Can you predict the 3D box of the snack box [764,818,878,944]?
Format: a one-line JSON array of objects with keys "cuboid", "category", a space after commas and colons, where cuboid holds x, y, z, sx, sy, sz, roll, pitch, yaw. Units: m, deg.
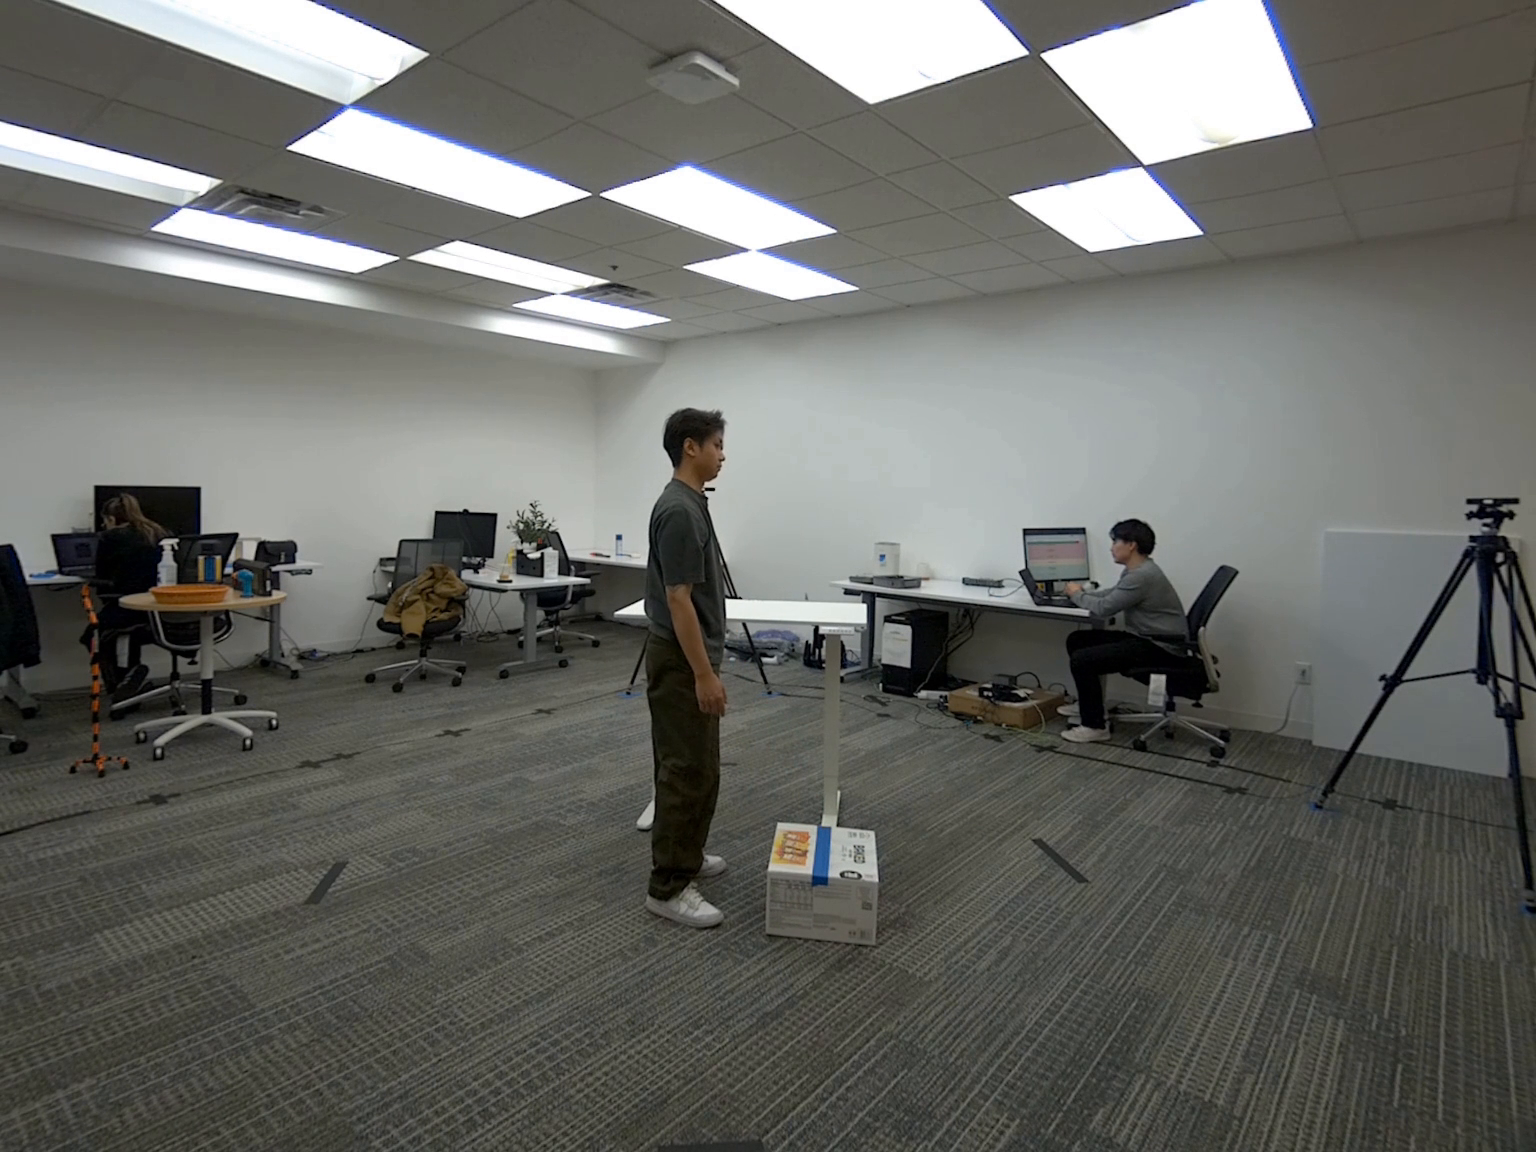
[{"cuboid": [0.177, 0.998, 2.802, 0.343, 0.205, 0.403, 2, 5, 6], "category": "snack box"}]
